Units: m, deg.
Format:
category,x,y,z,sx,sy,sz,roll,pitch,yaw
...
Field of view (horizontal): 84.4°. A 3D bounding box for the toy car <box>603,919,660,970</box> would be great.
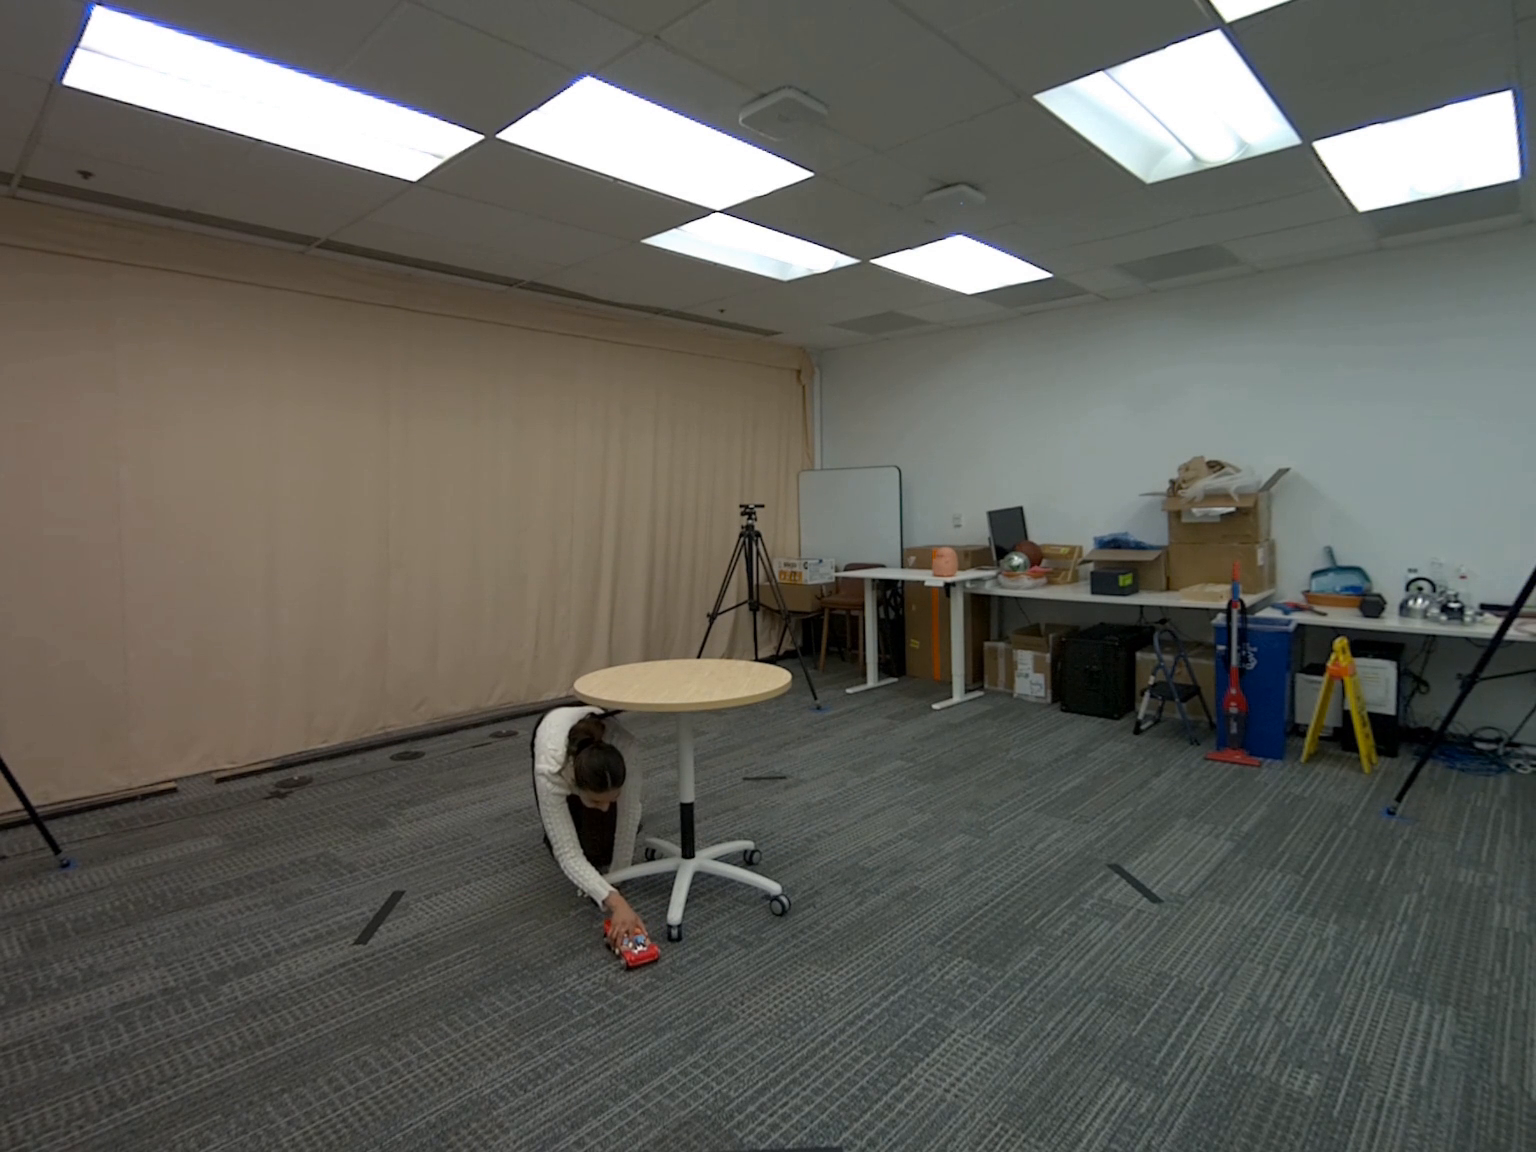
category,x,y,z,sx,sy,sz,roll,pitch,yaw
toy car,-0.435,1.140,2.652,0.127,0.082,0.263,-7,18,-29
